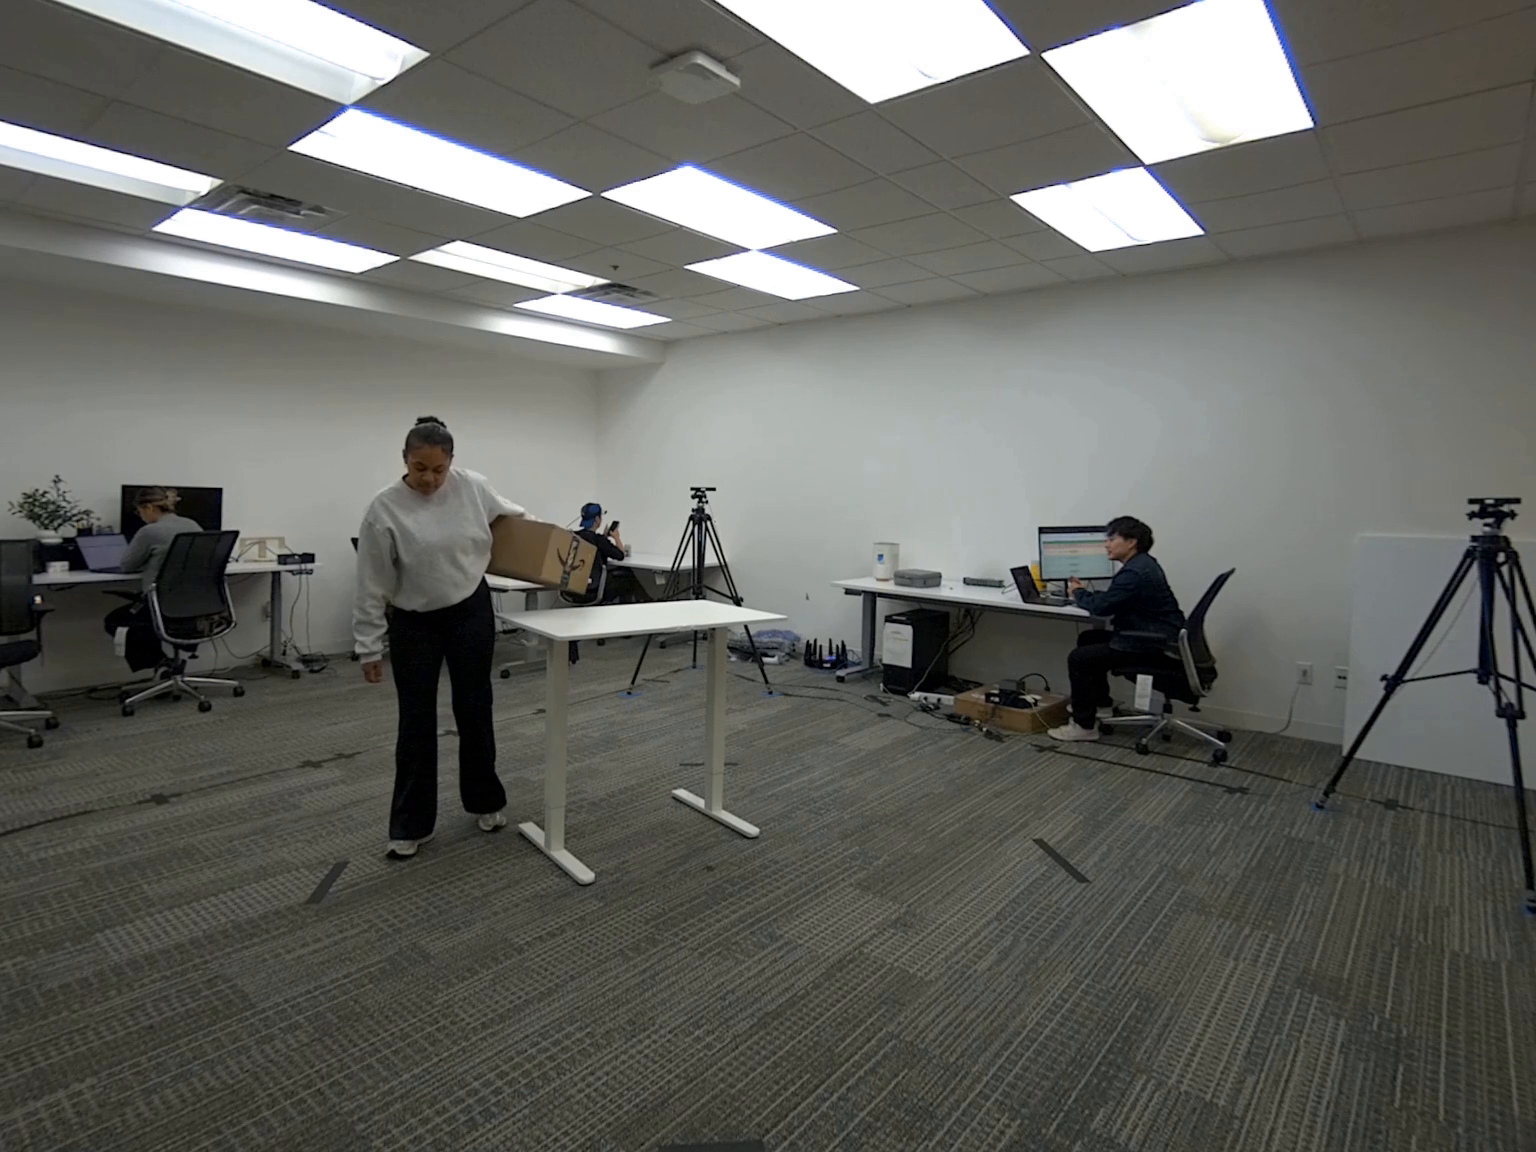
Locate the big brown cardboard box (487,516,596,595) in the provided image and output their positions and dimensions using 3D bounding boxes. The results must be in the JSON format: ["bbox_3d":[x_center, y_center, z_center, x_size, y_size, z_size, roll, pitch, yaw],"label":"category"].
[{"bbox_3d":[-1.088,-0.113,3.583,0.601,0.235,0.406,9,-8,16],"label":"big brown cardboard box"}]
